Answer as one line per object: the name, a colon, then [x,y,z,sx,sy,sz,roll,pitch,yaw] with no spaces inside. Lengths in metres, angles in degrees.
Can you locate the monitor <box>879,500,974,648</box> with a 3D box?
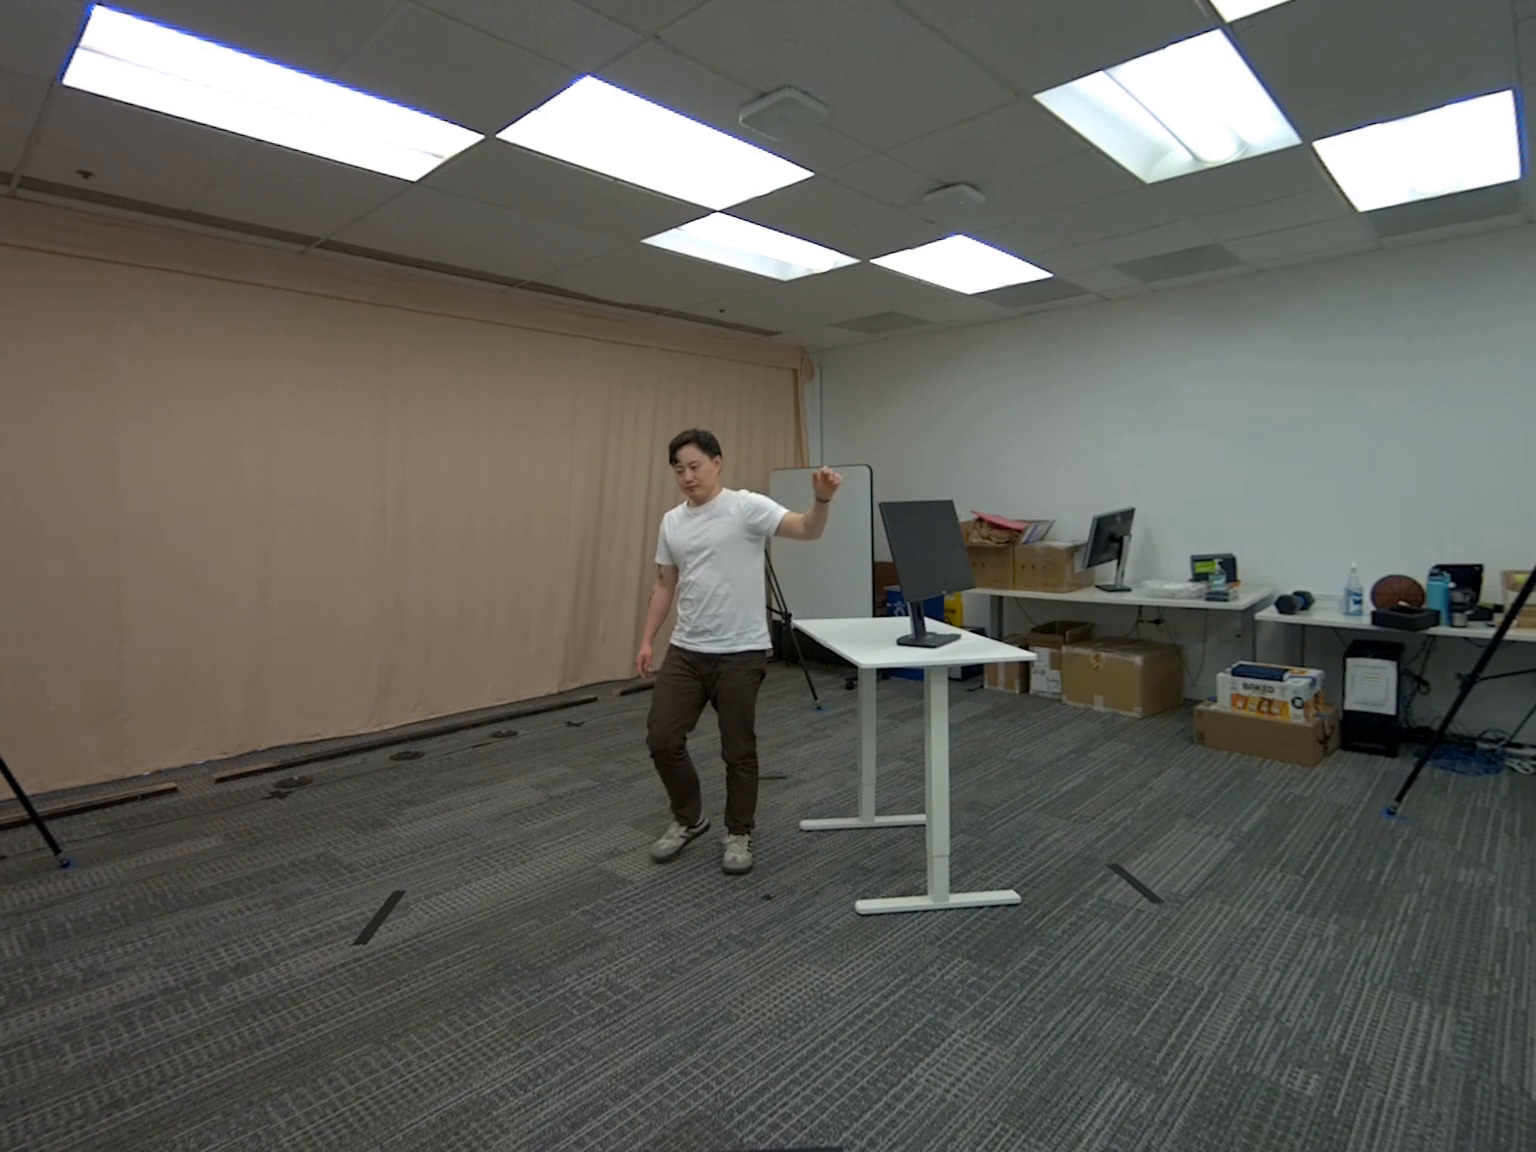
monitor: [0.581,-0.011,3.076,0.193,0.522,0.523,-1,3,37]
